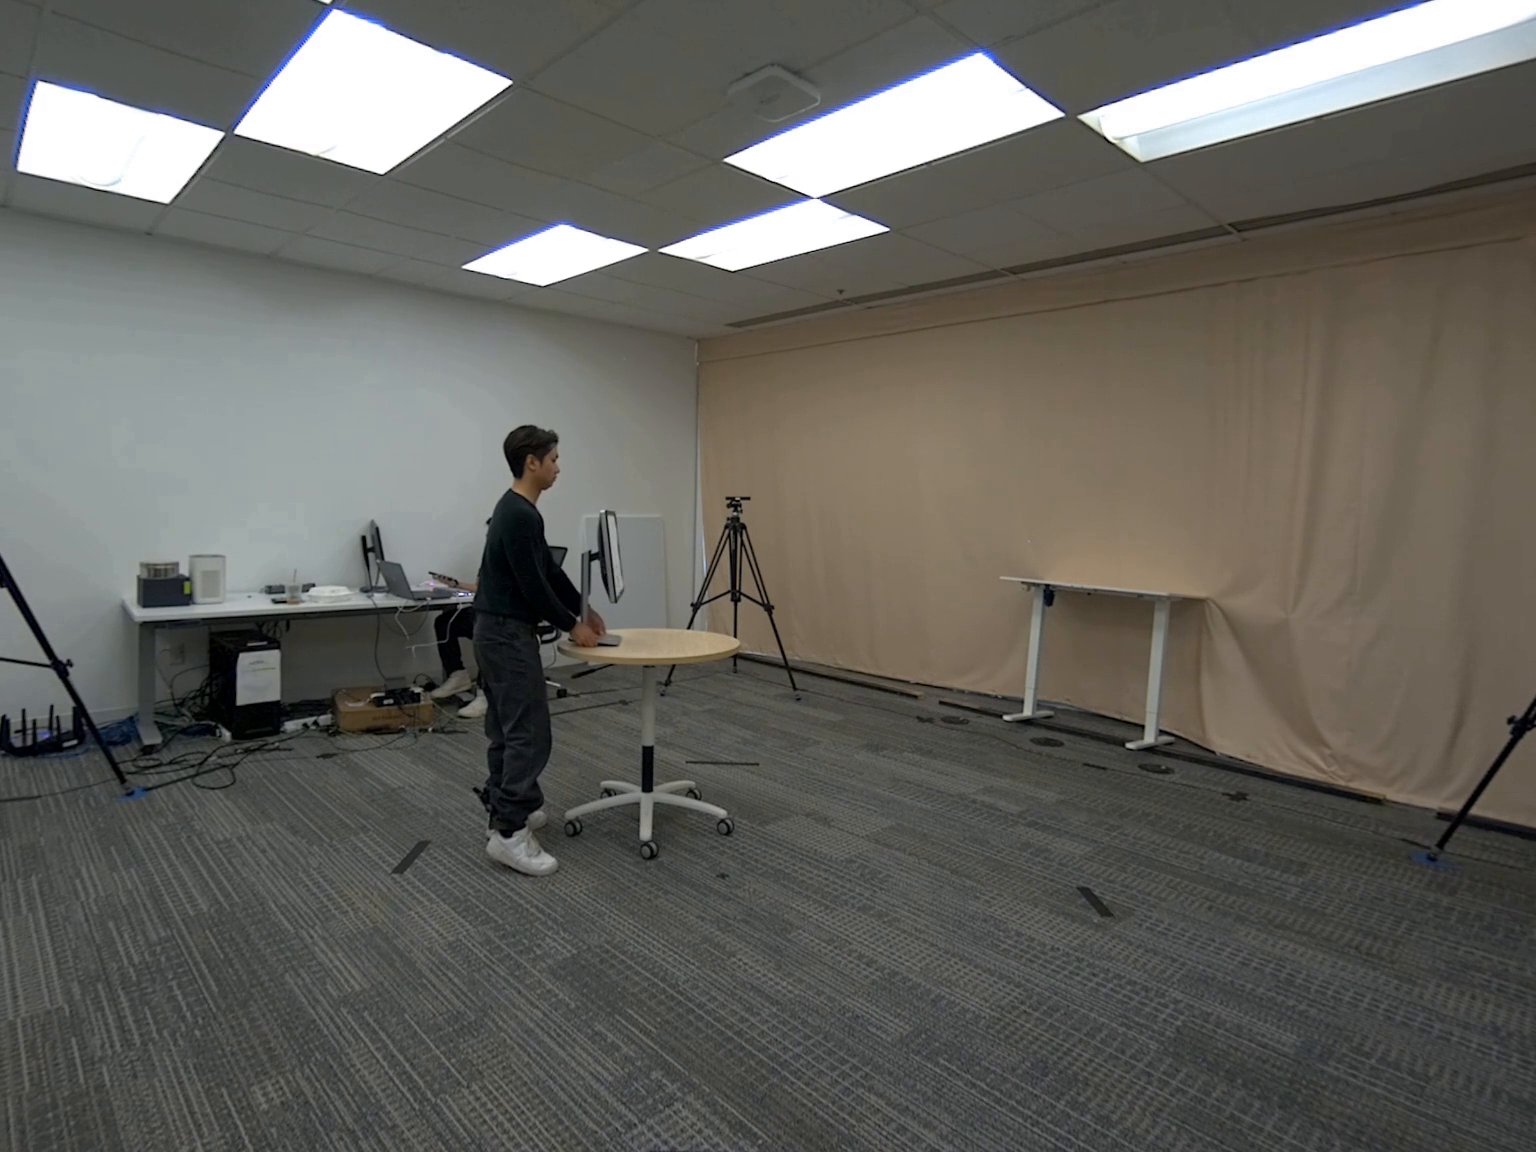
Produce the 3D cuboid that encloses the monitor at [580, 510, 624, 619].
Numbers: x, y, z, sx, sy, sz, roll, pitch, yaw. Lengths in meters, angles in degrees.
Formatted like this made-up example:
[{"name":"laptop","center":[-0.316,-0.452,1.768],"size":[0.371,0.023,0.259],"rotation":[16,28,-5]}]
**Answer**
[{"name":"monitor","center":[-0.705,0.004,3.526],"size":[0.186,0.522,0.543],"rotation":[4,2,-9]}]
